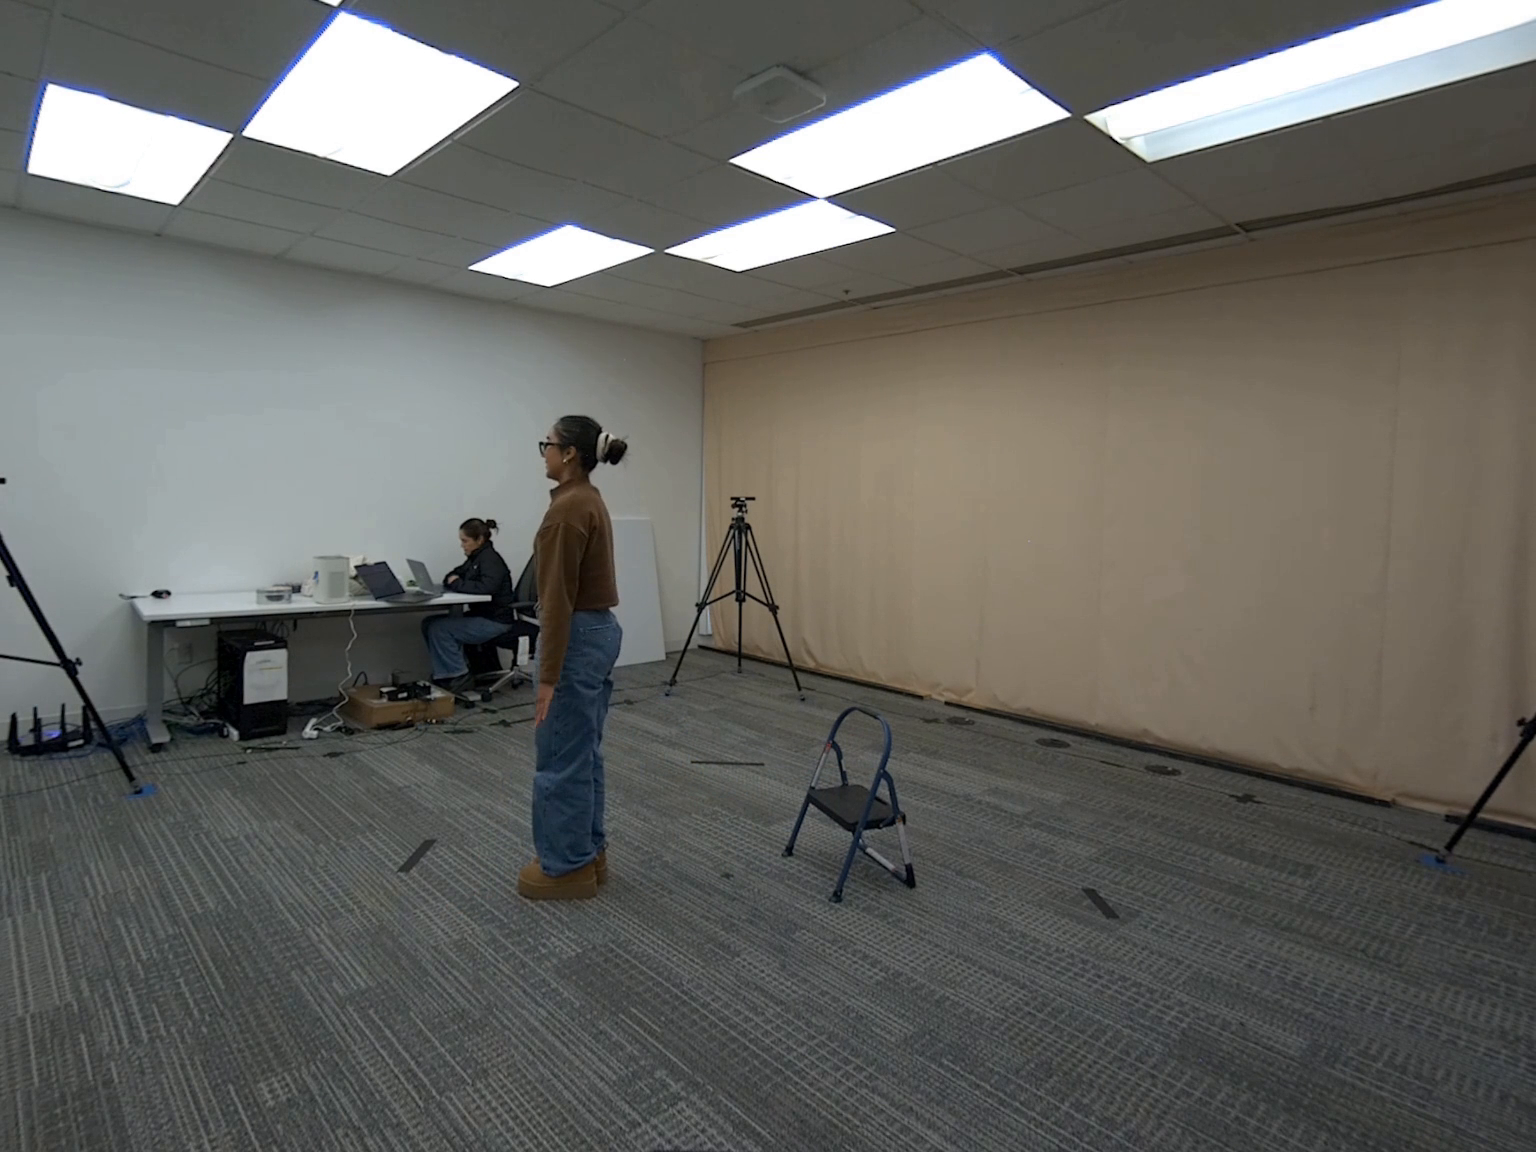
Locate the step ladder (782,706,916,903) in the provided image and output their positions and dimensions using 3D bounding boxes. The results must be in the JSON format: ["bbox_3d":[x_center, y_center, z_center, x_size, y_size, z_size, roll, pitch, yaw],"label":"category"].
[{"bbox_3d":[0.302,0.812,3.155,0.343,0.605,0.439,1,3,-24],"label":"step ladder"}]
